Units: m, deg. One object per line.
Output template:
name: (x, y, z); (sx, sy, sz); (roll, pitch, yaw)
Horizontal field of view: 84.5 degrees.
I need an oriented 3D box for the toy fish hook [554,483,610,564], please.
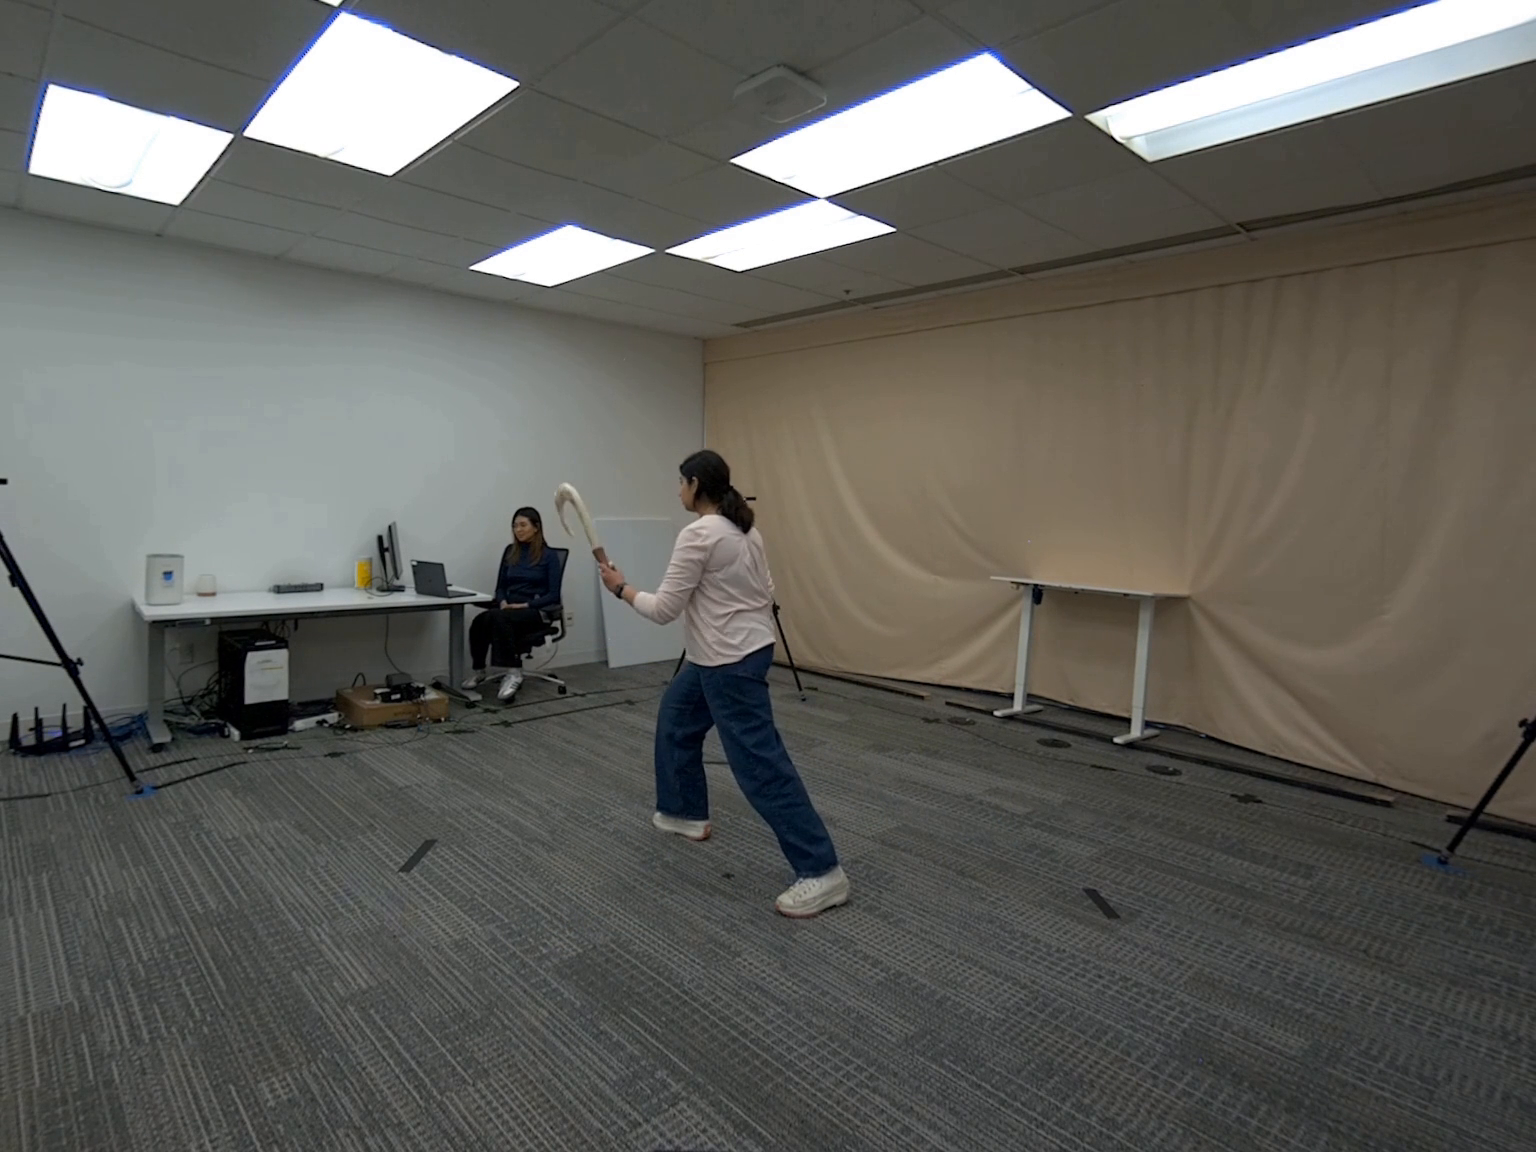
toy fish hook: (-0.709, -0.141, 3.365); (0.048, 0.512, 0.225); (-23, -11, -33)
